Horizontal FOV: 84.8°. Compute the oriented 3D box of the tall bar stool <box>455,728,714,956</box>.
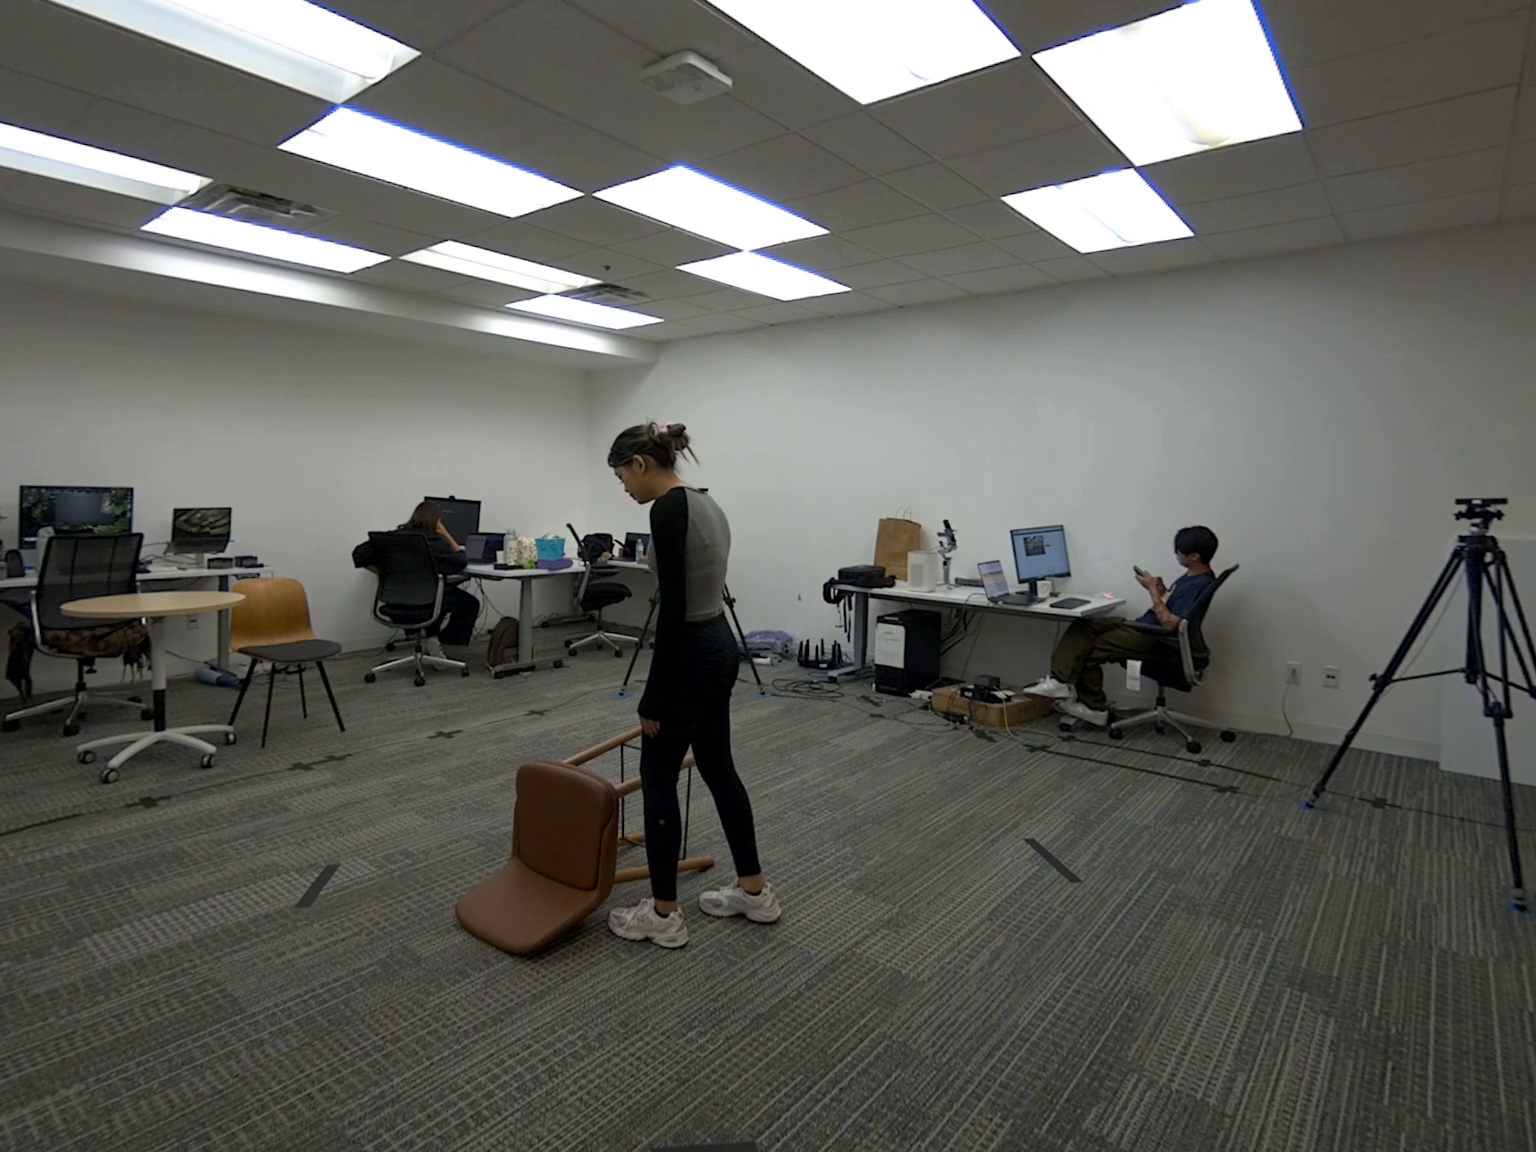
[{"bbox_3d":[-0.603,0.854,2.911,0.471,0.466,0.864,4,6,36],"label":"tall bar stool"}]
